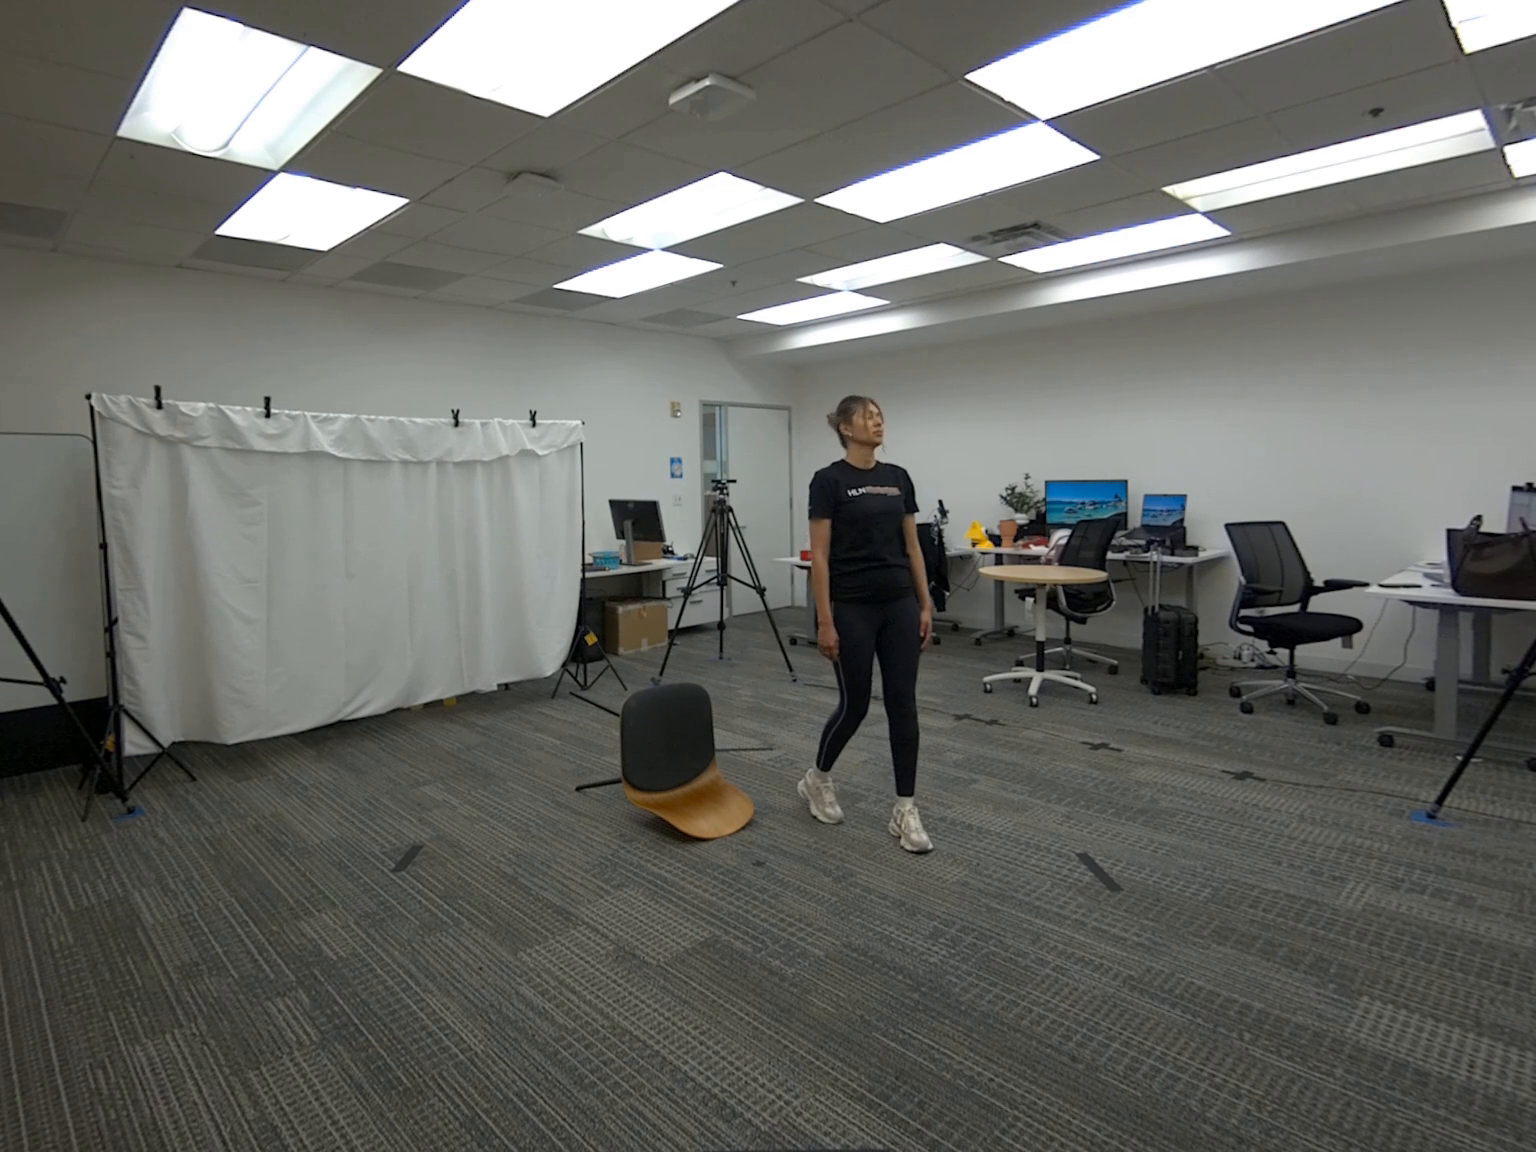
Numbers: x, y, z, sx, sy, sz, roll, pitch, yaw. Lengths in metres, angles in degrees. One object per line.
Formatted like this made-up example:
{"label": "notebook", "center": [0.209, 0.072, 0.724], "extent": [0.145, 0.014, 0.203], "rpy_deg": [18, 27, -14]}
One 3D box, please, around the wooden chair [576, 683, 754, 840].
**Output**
{"label": "wooden chair", "center": [-0.446, 0.728, 3.675], "extent": [0.466, 0.521, 0.904], "rpy_deg": [-5, 7, -38]}
